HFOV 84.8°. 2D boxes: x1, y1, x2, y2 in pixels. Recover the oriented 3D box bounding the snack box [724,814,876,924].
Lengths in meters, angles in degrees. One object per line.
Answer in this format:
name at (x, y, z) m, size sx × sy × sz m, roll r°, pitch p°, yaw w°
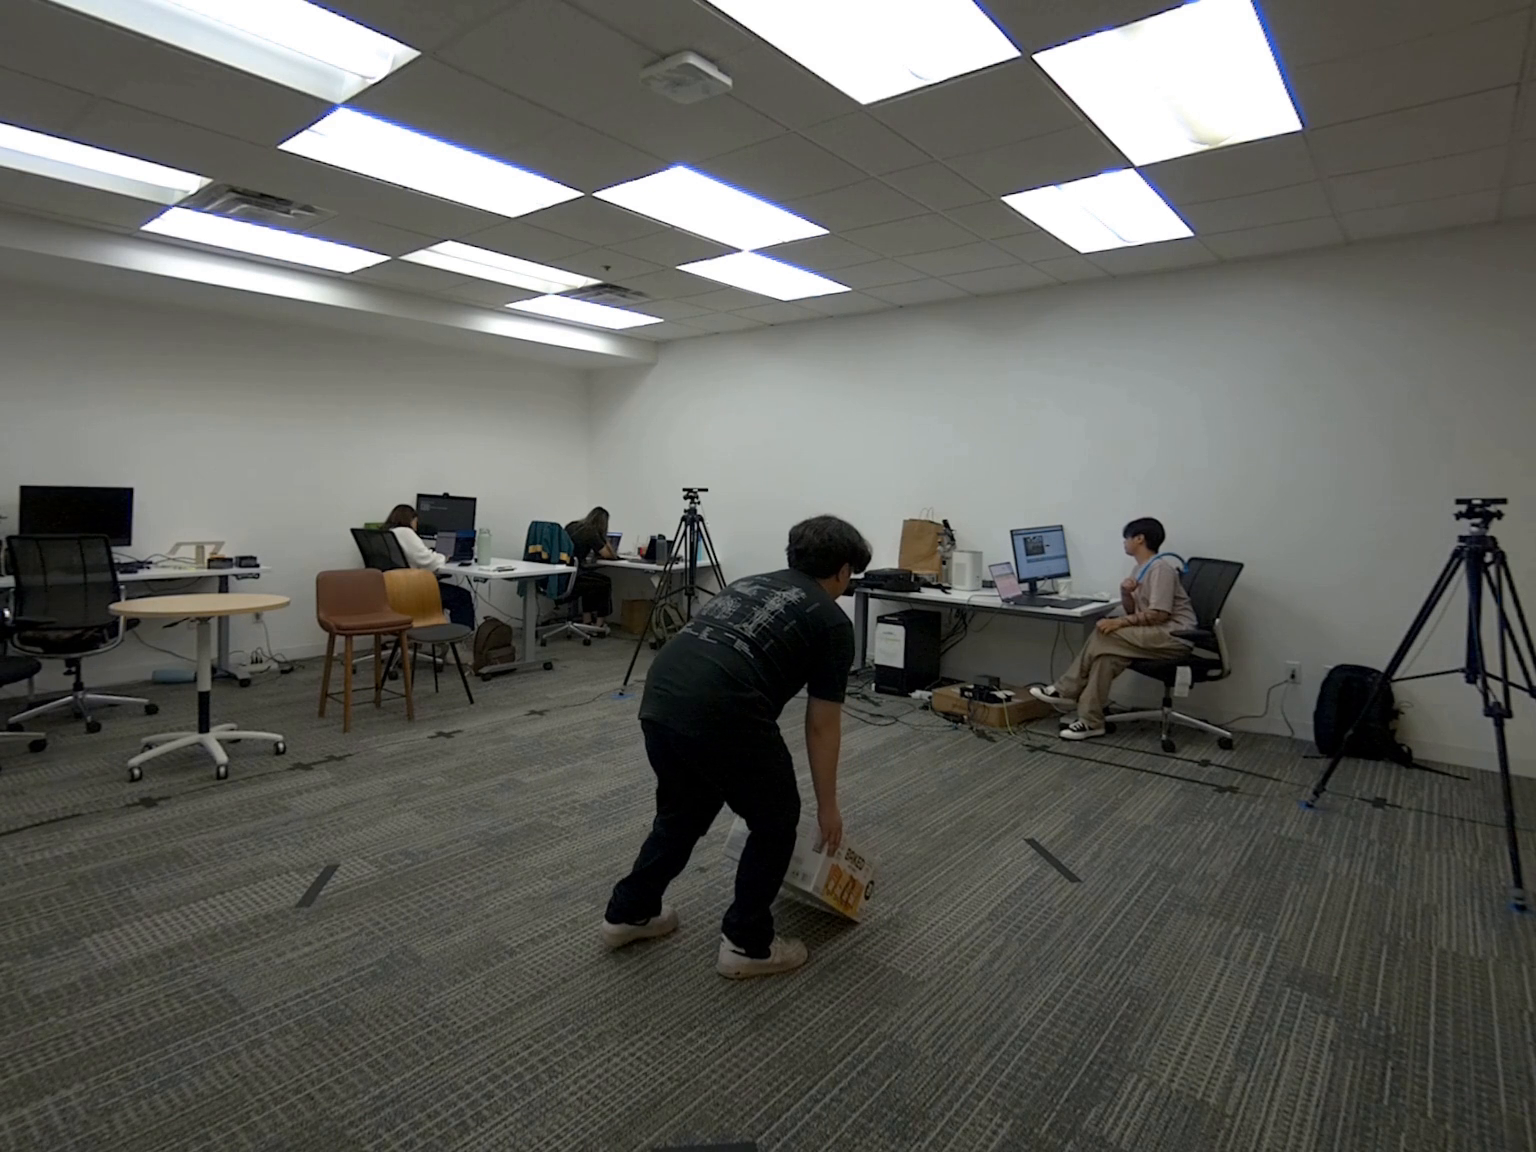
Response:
snack box at (0.108, 0.911, 2.745) m, size 0.352 × 0.207 × 0.388 m, roll 8°, pitch -27°, yaw 36°
